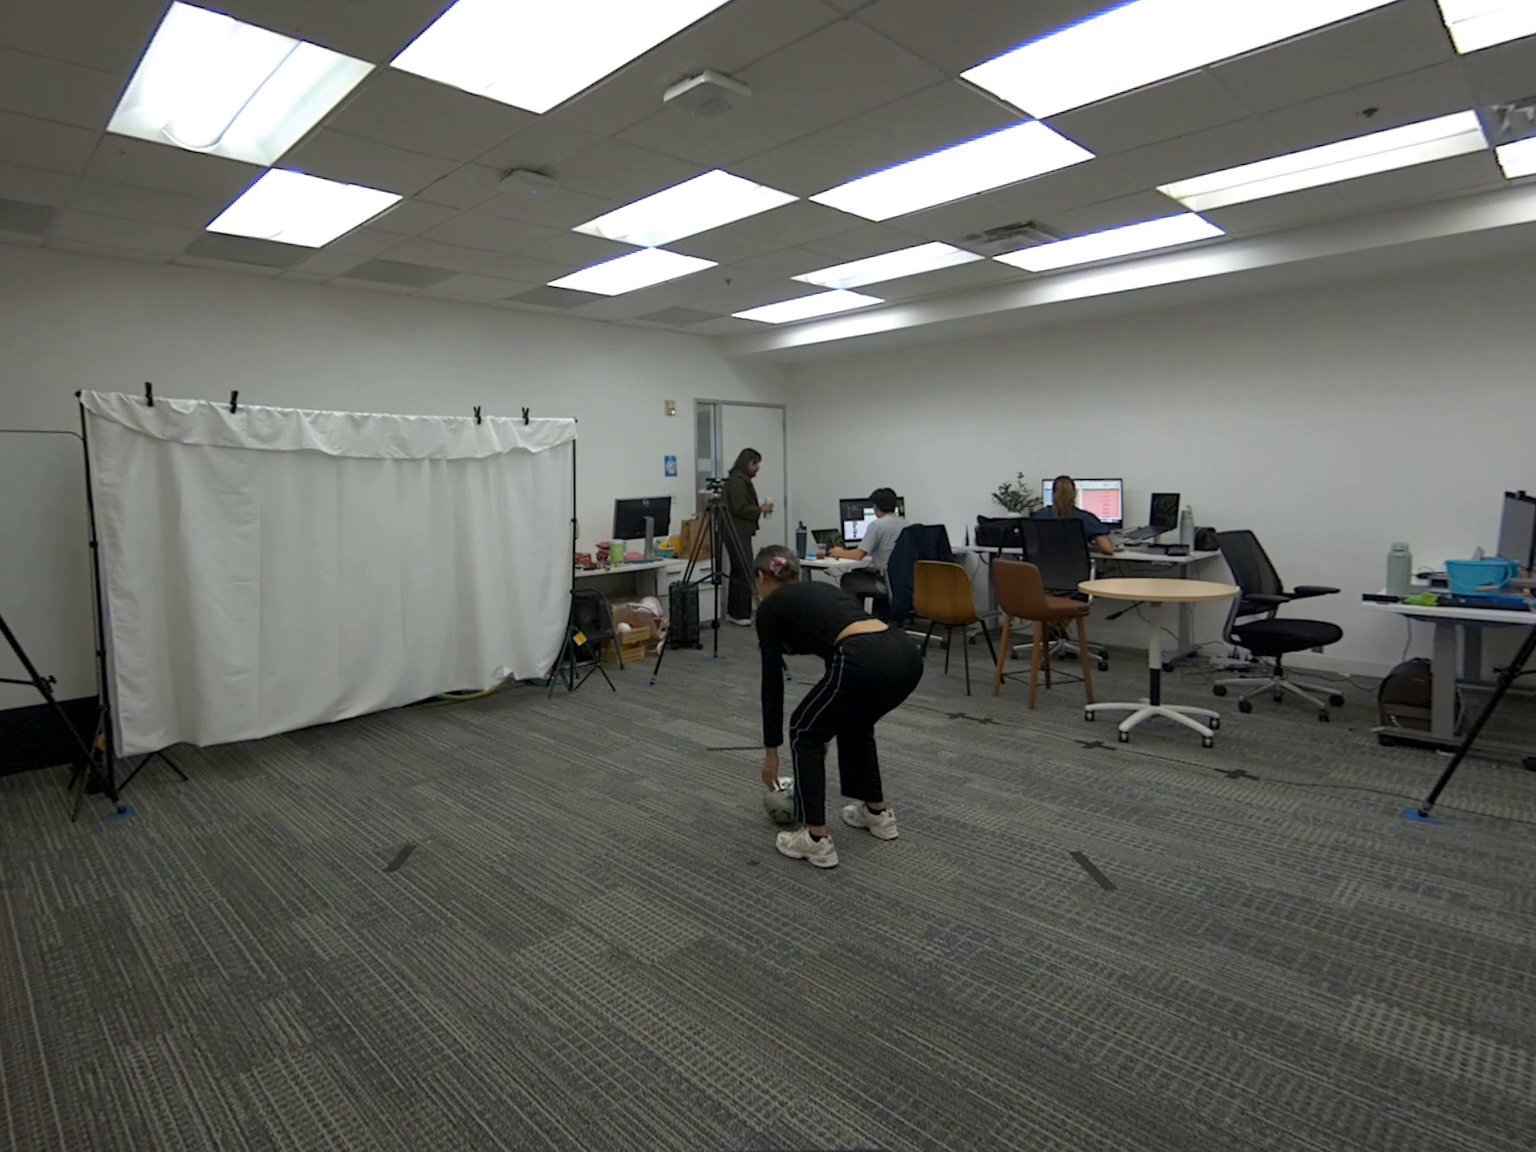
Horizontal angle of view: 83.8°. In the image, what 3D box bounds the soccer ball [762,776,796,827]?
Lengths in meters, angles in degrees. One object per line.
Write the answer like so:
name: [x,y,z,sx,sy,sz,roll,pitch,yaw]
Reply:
soccer ball: [0.079,0.904,3.462,0.187,0.187,0.188,-1,5,-2]
